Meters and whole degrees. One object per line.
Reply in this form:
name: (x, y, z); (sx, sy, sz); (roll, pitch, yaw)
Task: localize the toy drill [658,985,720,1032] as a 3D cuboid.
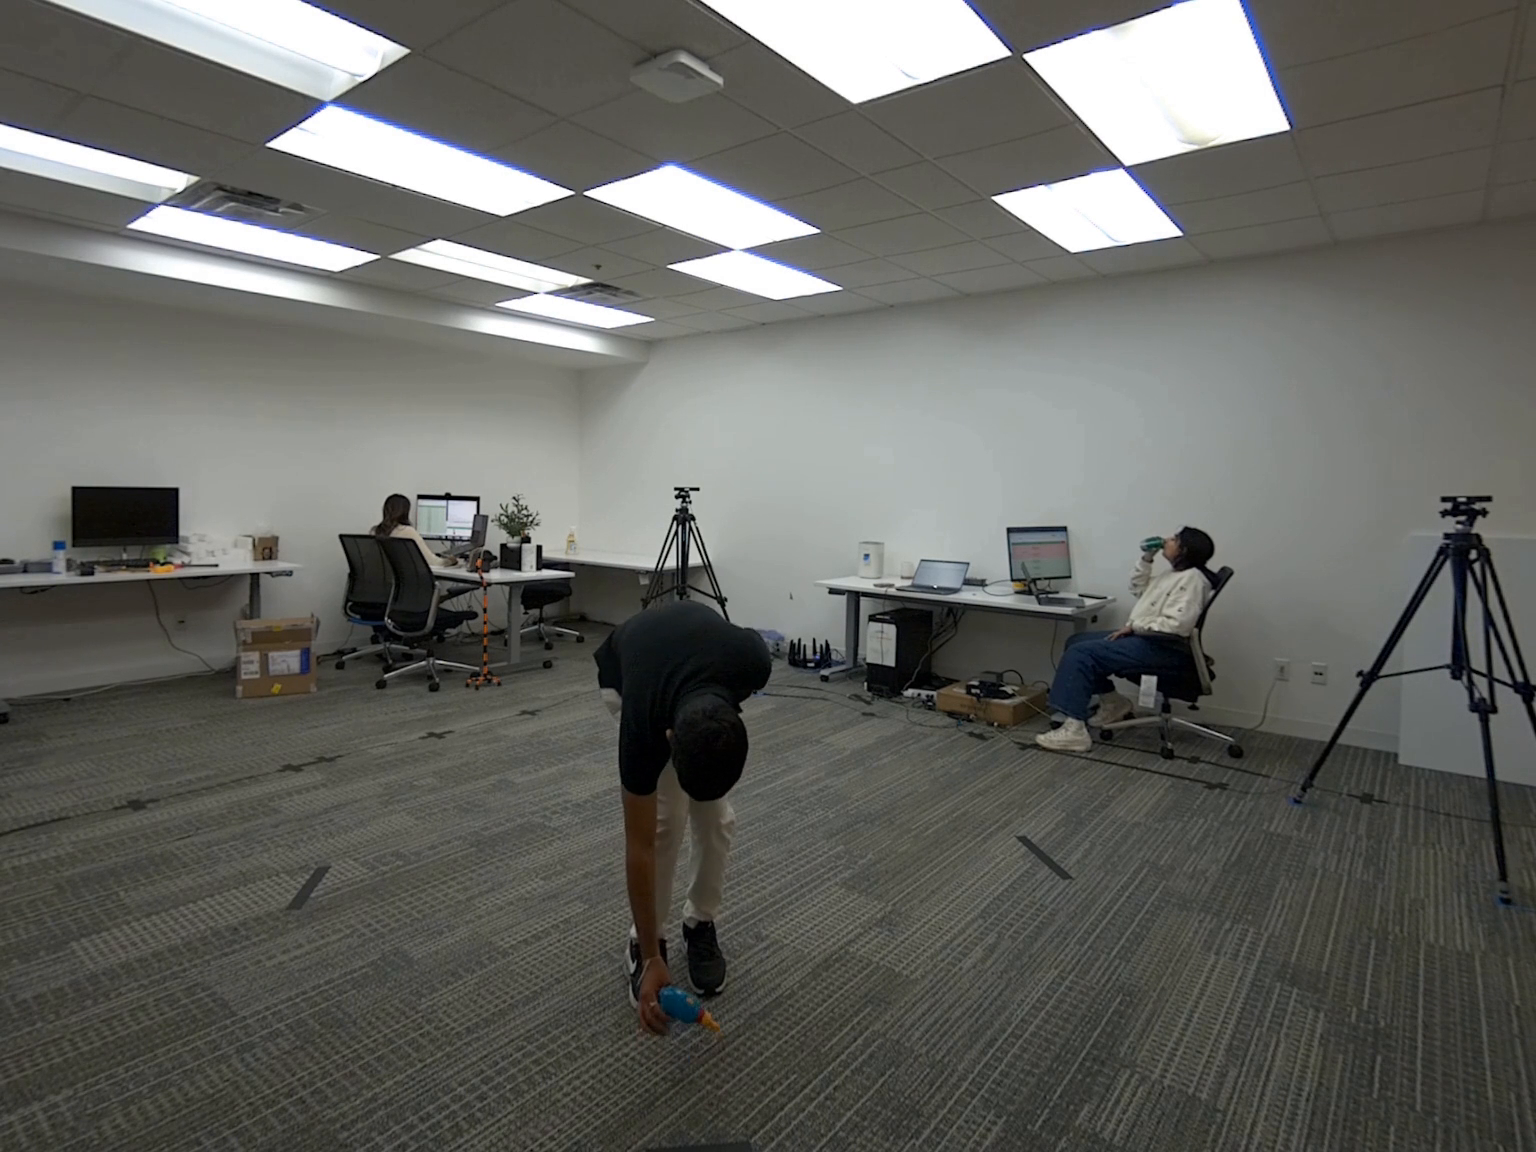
toy drill: (-0.208, 1.044, 2.031); (0.170, 0.145, 0.061); (34, 25, 0)
